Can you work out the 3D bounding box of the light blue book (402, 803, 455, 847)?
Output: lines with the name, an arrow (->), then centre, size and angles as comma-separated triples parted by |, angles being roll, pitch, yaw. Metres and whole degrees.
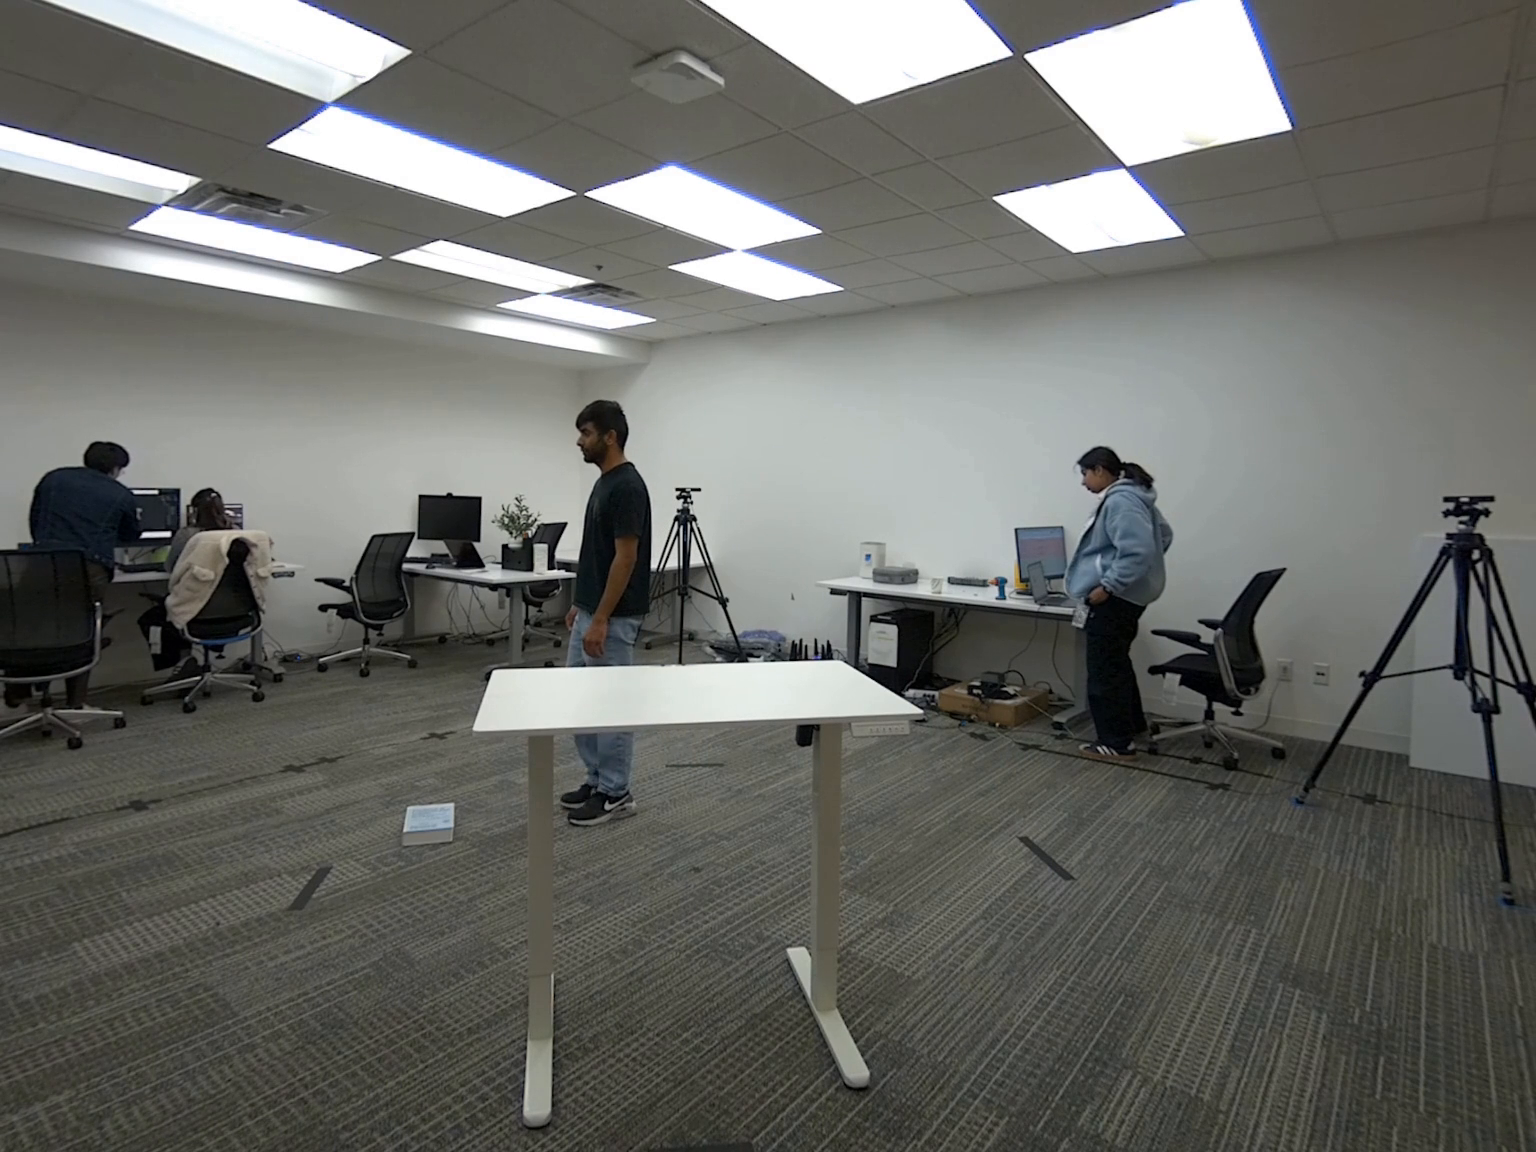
light blue book -> -1.379, 0.997, 3.422 | 0.188, 0.059, 0.267 | -1, 6, -19
